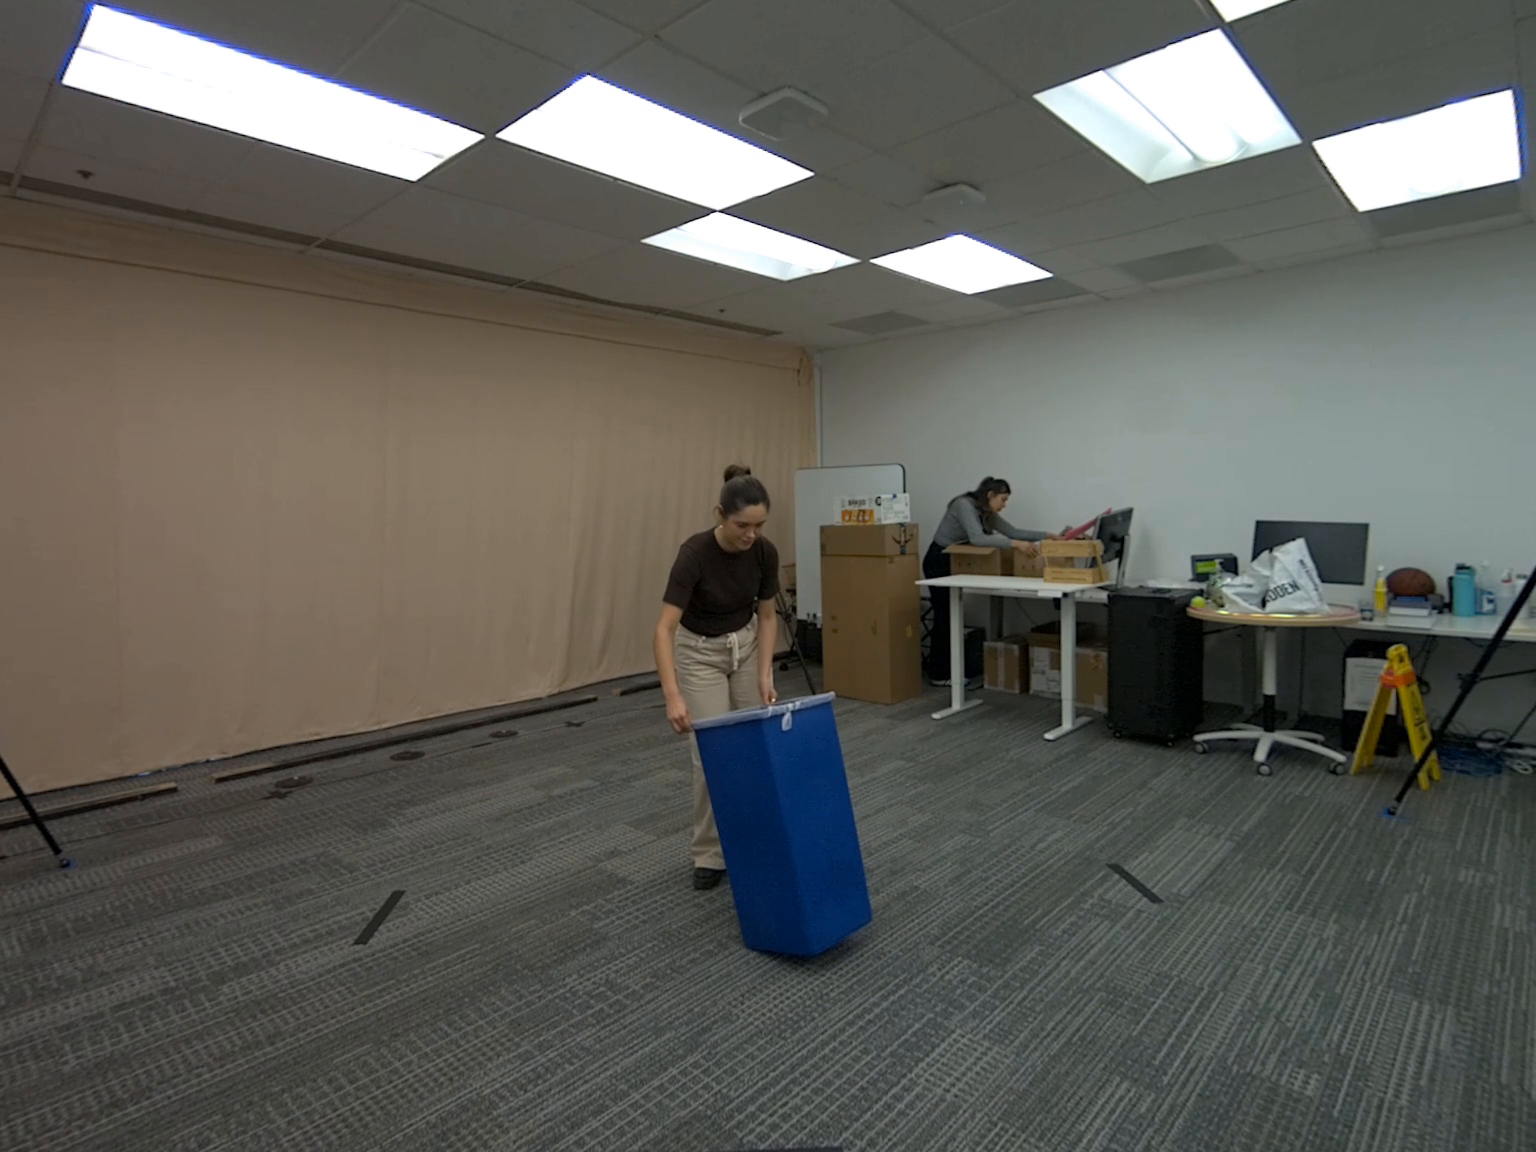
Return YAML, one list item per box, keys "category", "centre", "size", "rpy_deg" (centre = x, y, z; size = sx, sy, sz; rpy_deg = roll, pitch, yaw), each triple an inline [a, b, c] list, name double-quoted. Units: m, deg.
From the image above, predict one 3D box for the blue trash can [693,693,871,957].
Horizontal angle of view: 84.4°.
- category: "blue trash can"
  centre: [0.056, 0.779, 2.702]
  size: [0.366, 0.719, 0.383]
  rpy_deg: [-4, -12, -45]
